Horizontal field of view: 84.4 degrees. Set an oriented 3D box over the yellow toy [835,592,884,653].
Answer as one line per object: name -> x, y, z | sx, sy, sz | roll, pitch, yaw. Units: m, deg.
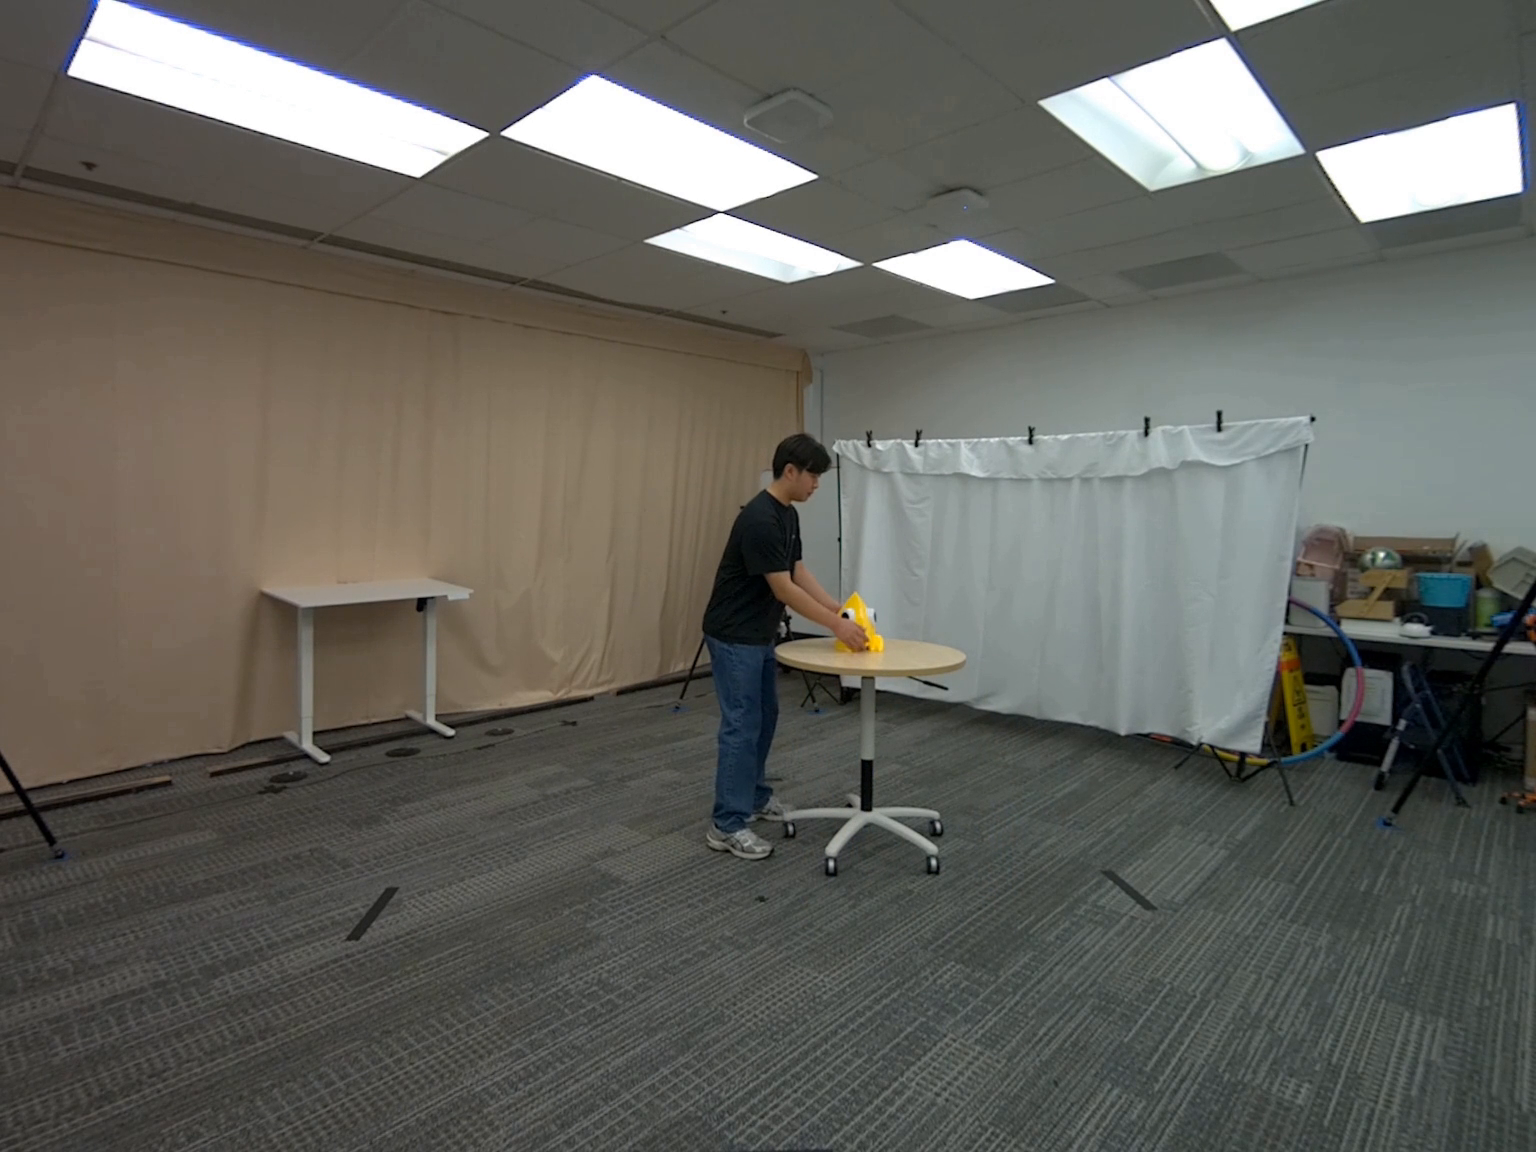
yellow toy -> 0.387, 0.188, 3.516 | 0.203, 0.230, 0.195 | 1, 2, -10
